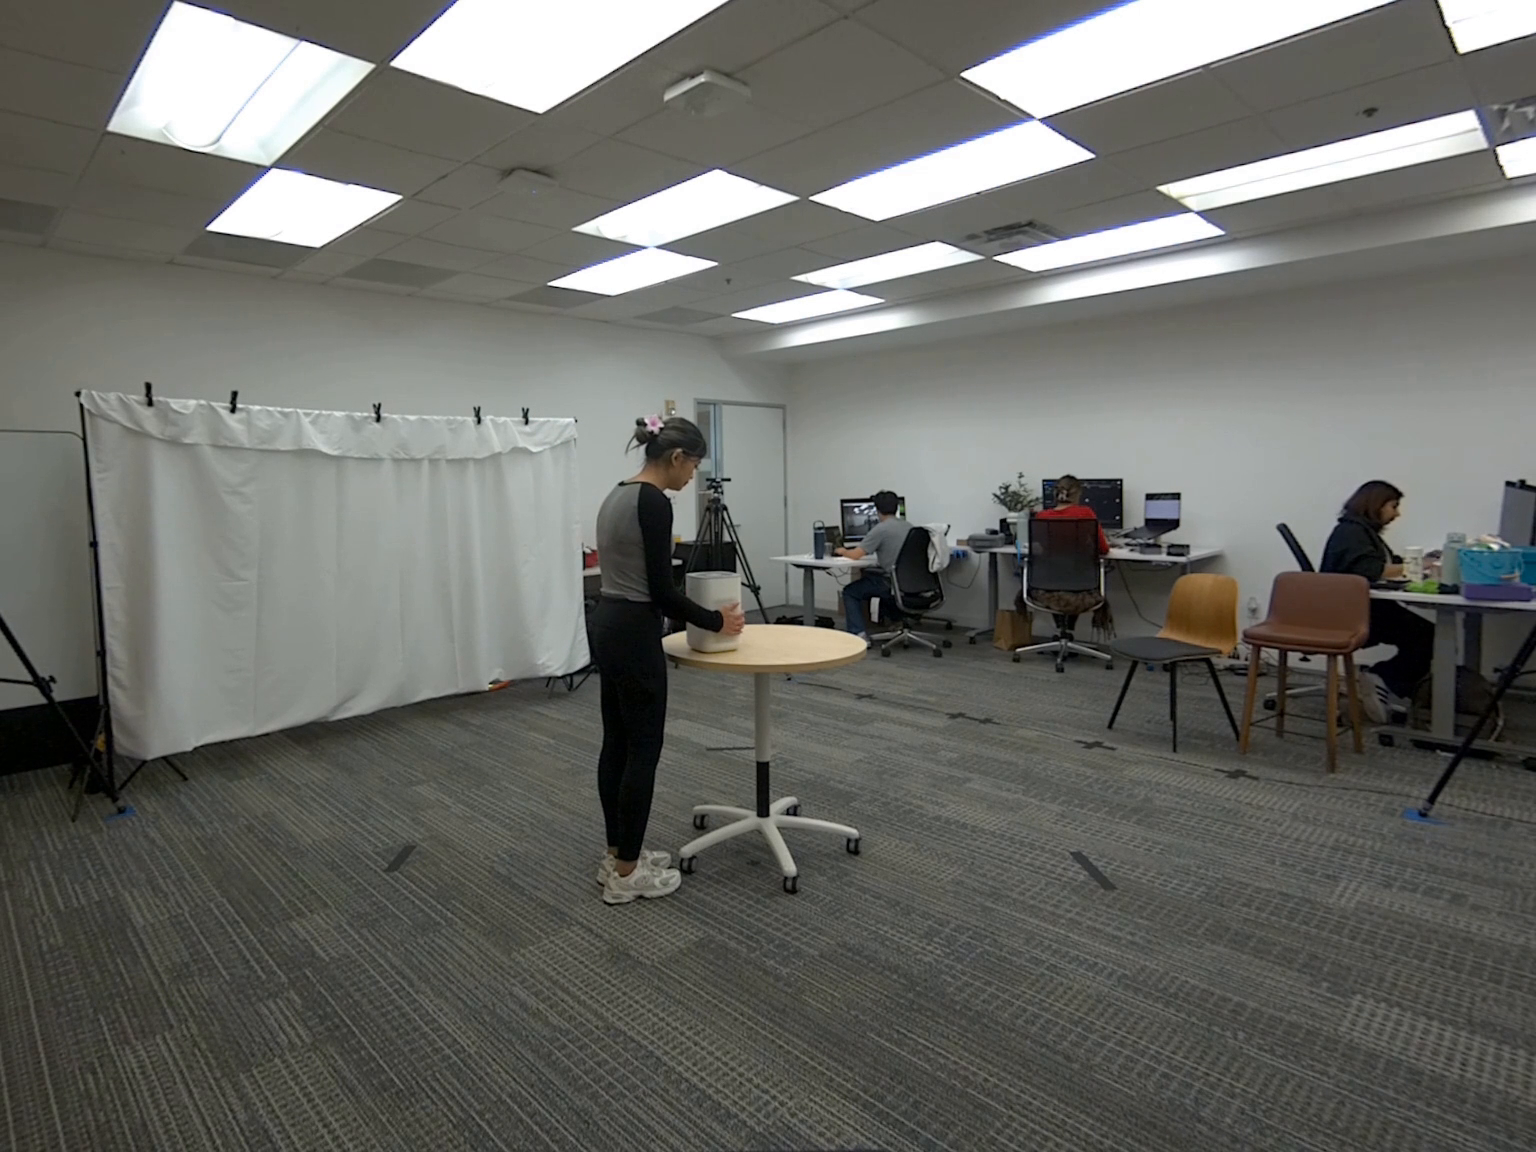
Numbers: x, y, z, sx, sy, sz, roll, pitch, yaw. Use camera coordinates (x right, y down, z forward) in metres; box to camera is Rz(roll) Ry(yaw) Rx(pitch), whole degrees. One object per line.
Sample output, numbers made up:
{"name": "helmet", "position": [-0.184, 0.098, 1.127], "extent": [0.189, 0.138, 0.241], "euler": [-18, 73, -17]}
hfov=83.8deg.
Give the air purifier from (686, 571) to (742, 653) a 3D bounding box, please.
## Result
{"name": "air purifier", "position": [-0.192, 0.123, 3.013], "extent": [0.167, 0.264, 0.176], "euler": [-3, 6, -26]}
